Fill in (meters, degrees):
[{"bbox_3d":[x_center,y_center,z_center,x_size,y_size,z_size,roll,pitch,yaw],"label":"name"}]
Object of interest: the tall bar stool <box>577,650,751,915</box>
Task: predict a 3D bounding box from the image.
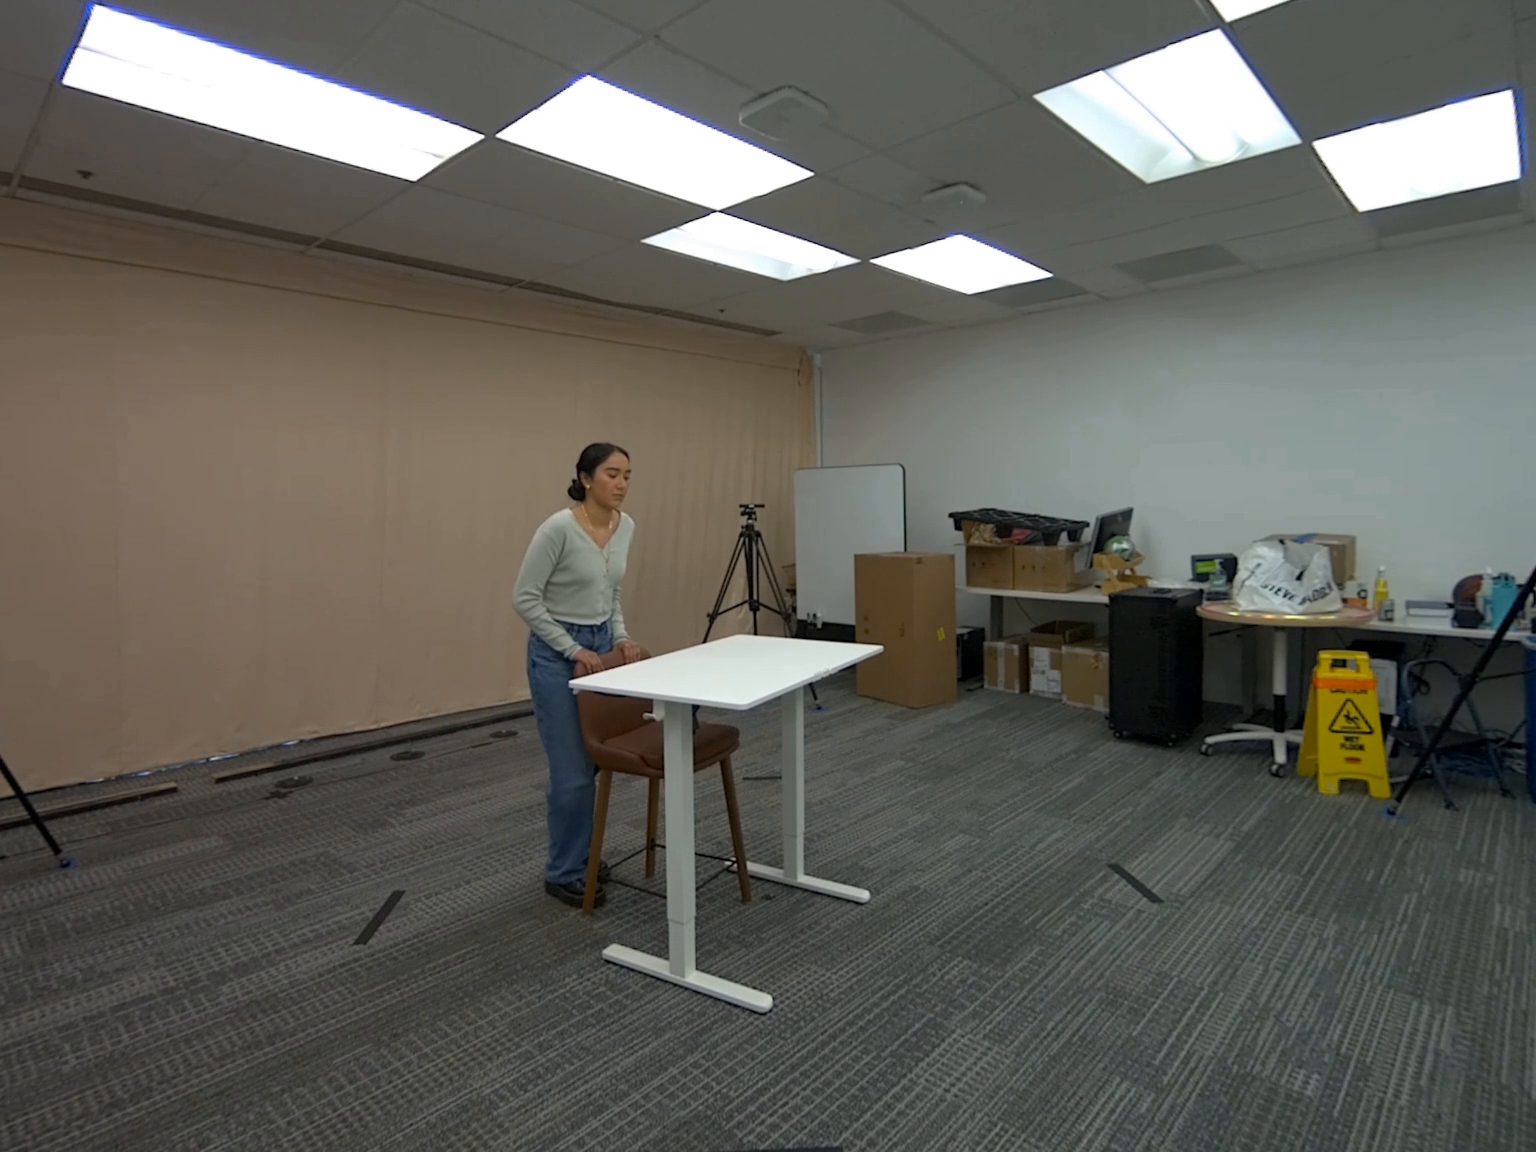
[{"bbox_3d":[-0.373,0.721,2.895,0.481,0.889,0.444,-2,2,33],"label":"tall bar stool"}]
